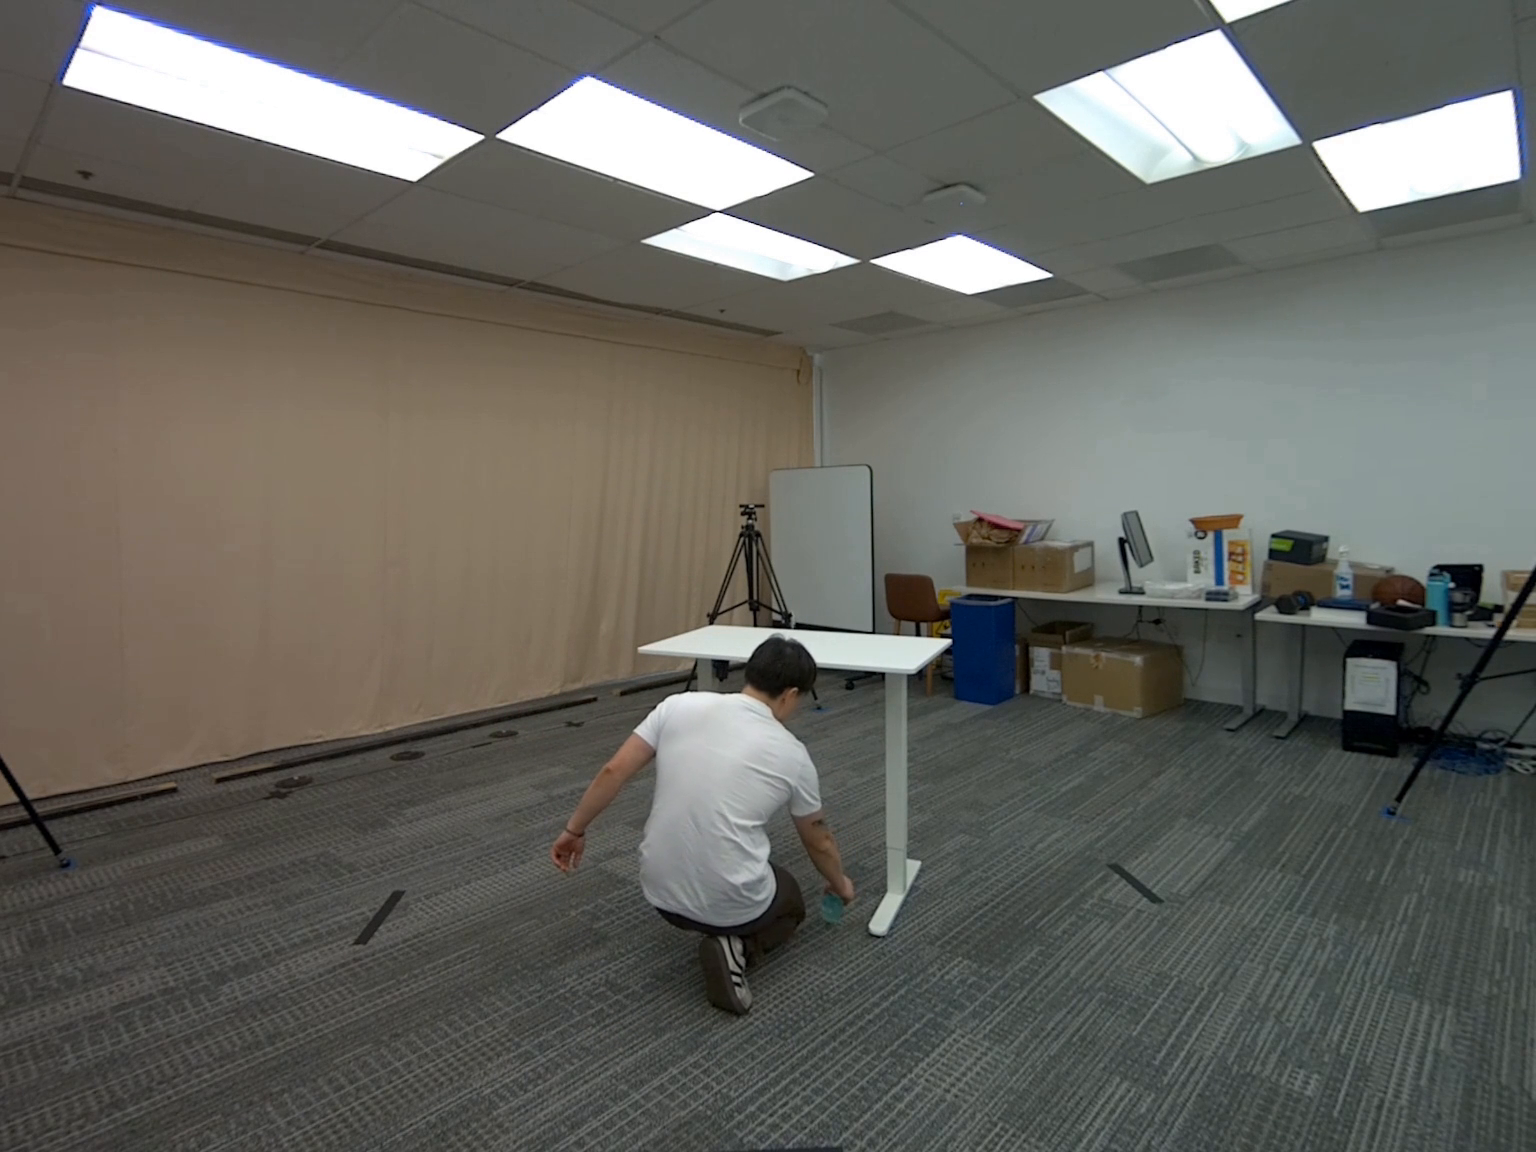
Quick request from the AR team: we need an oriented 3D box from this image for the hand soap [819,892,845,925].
[{"bbox_3d":[0.212,1.055,2.771,0.087,0.167,0.042,11,11,31],"label":"hand soap"}]
